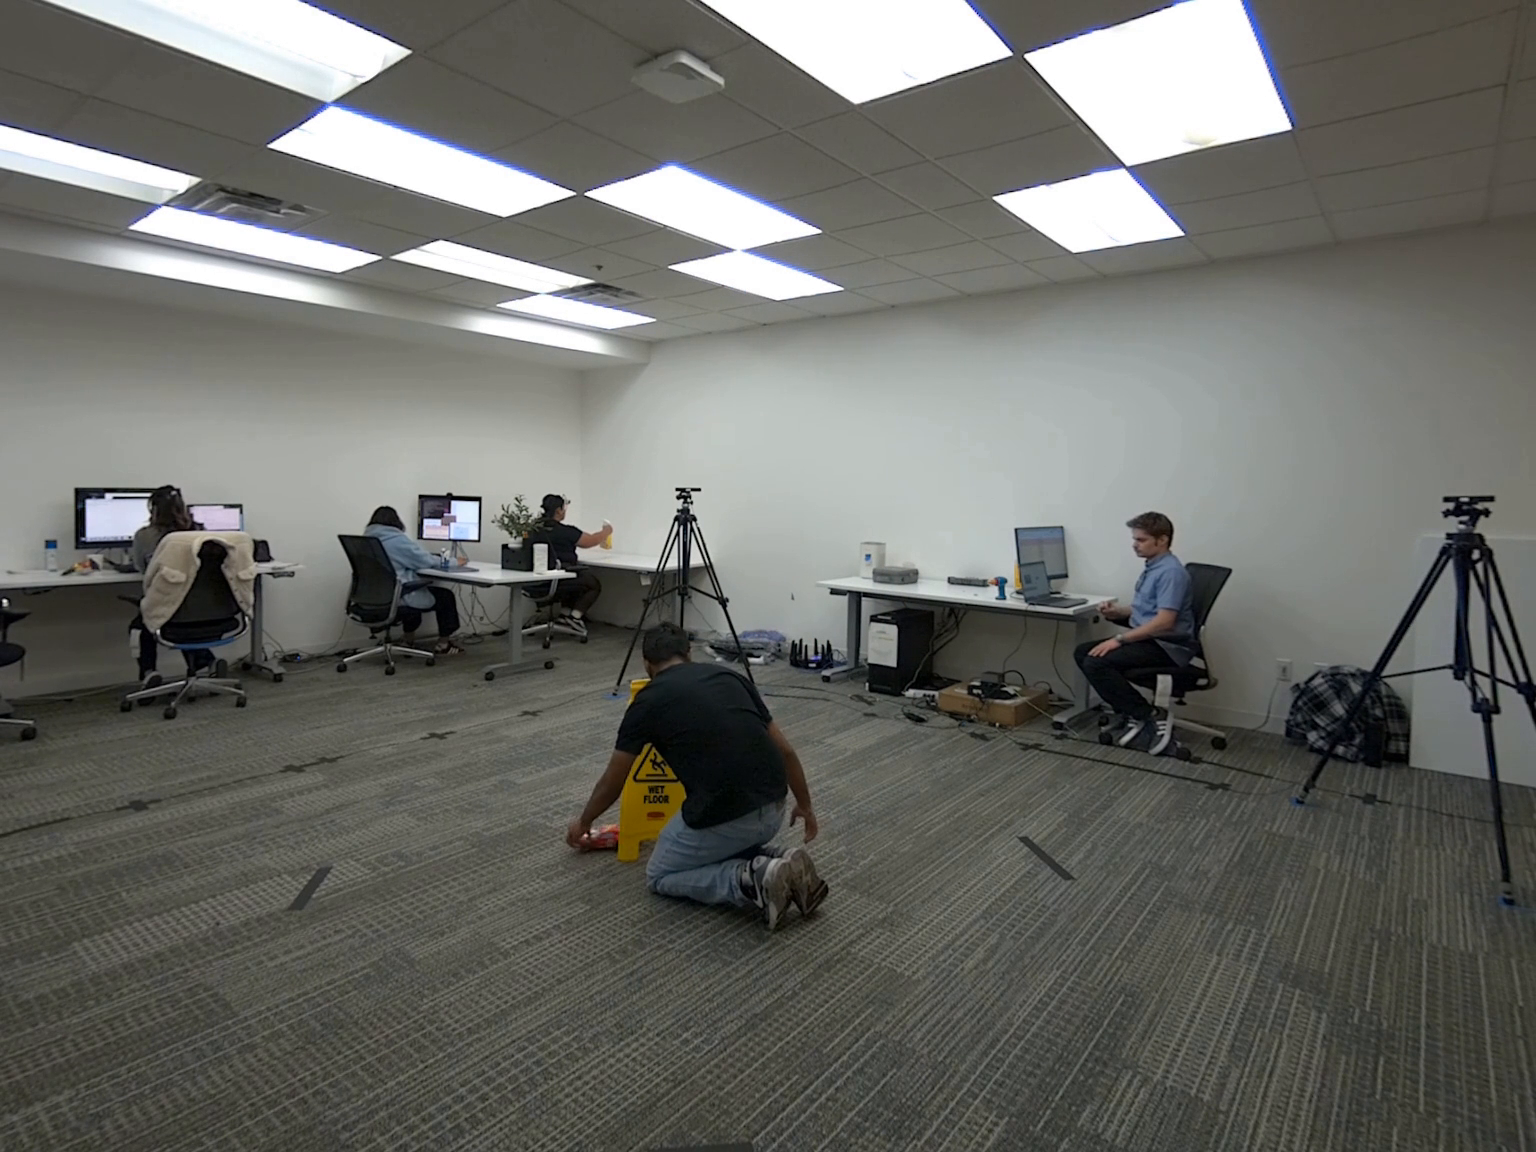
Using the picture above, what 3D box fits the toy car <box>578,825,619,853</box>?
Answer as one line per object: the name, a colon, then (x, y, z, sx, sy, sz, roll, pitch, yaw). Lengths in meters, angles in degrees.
toy car: (-0.607, 1.013, 3.292, 0.253, 0.083, 0.132, -10, 7, -6)
